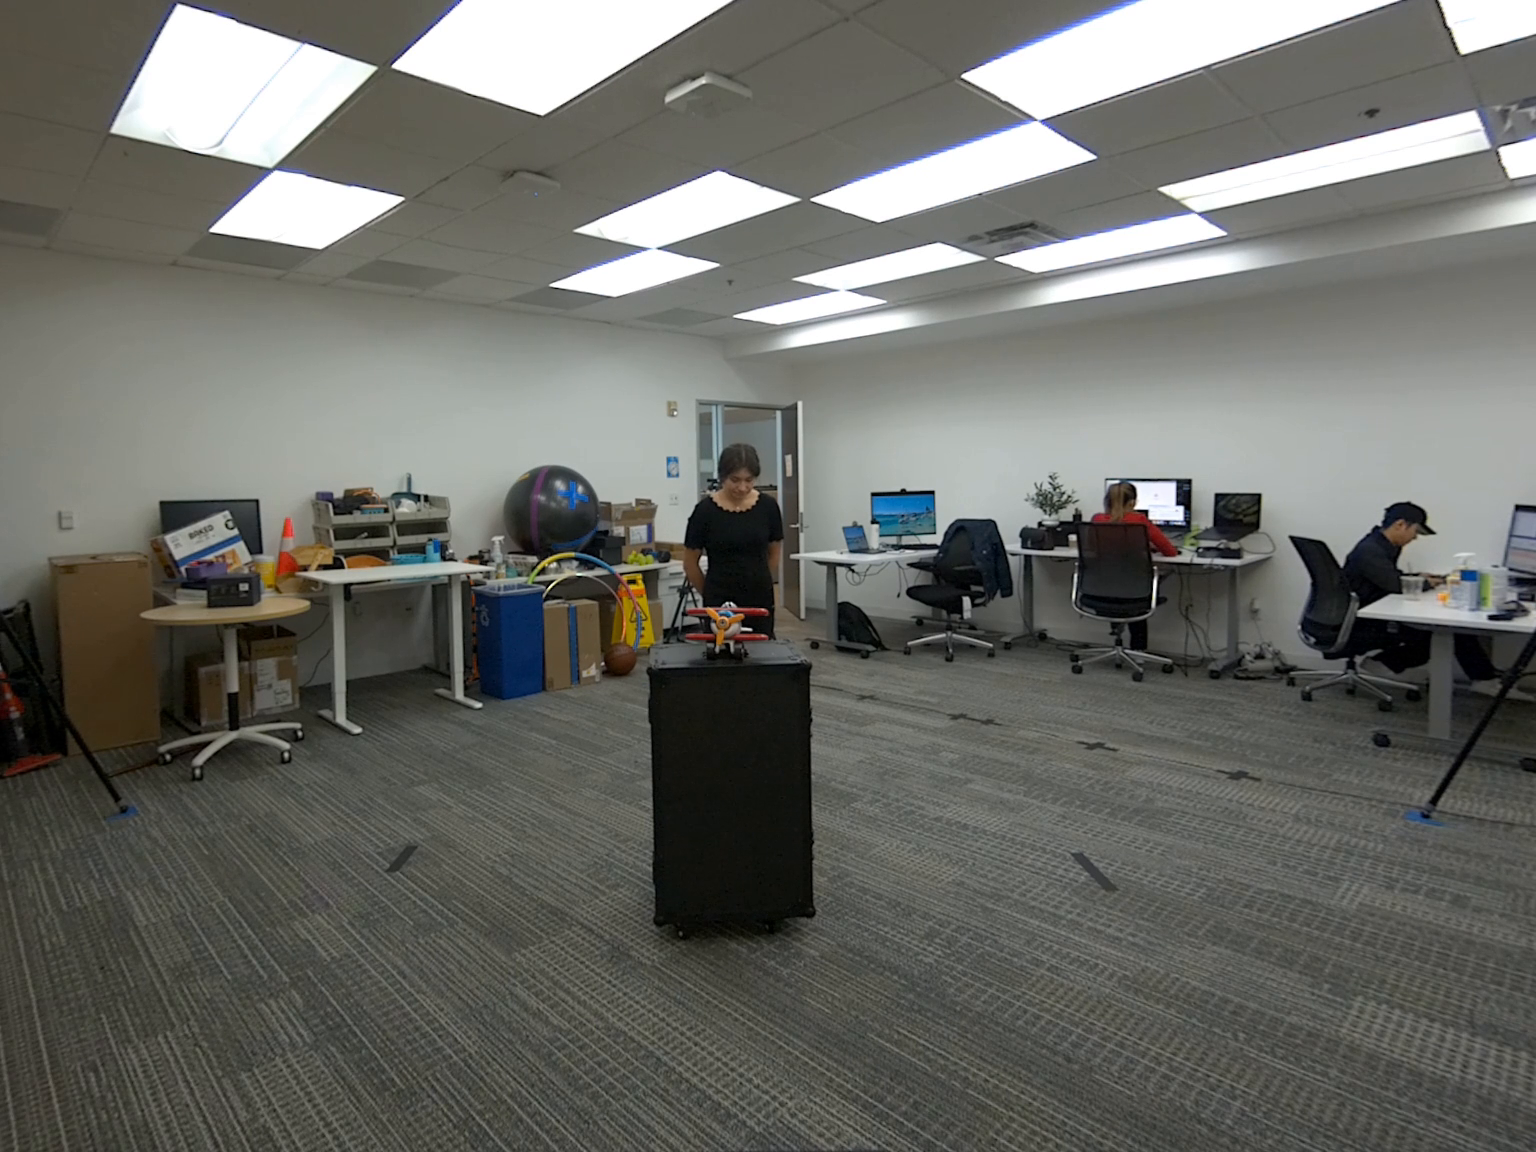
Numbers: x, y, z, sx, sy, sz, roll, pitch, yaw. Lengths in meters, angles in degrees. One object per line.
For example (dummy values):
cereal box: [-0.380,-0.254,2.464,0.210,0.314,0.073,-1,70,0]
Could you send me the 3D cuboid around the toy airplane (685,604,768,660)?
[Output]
toy airplane: [-0.142,0.170,2.684,0.246,0.156,0.265,-2,7,-21]
